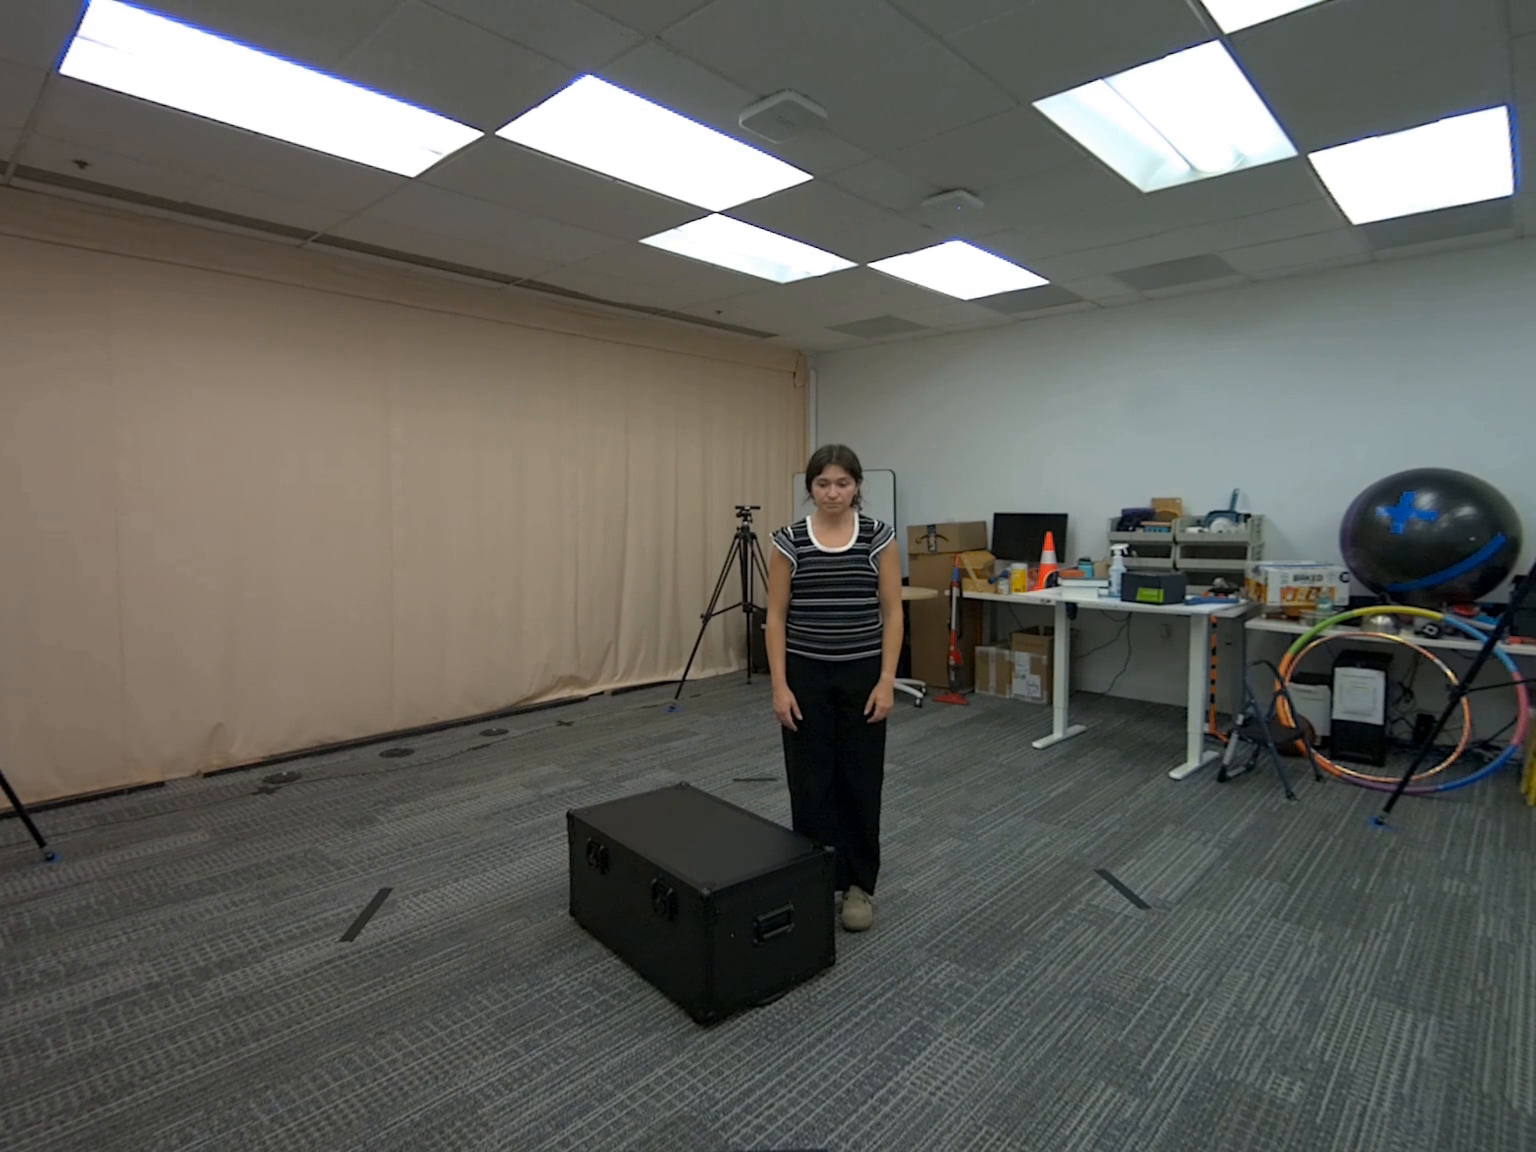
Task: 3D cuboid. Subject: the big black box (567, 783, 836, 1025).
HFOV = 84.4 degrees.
[{"bbox_3d":[-0.253,0.981,2.685,0.506,0.395,0.890,-3,6,-39],"label":"big black box"}]
